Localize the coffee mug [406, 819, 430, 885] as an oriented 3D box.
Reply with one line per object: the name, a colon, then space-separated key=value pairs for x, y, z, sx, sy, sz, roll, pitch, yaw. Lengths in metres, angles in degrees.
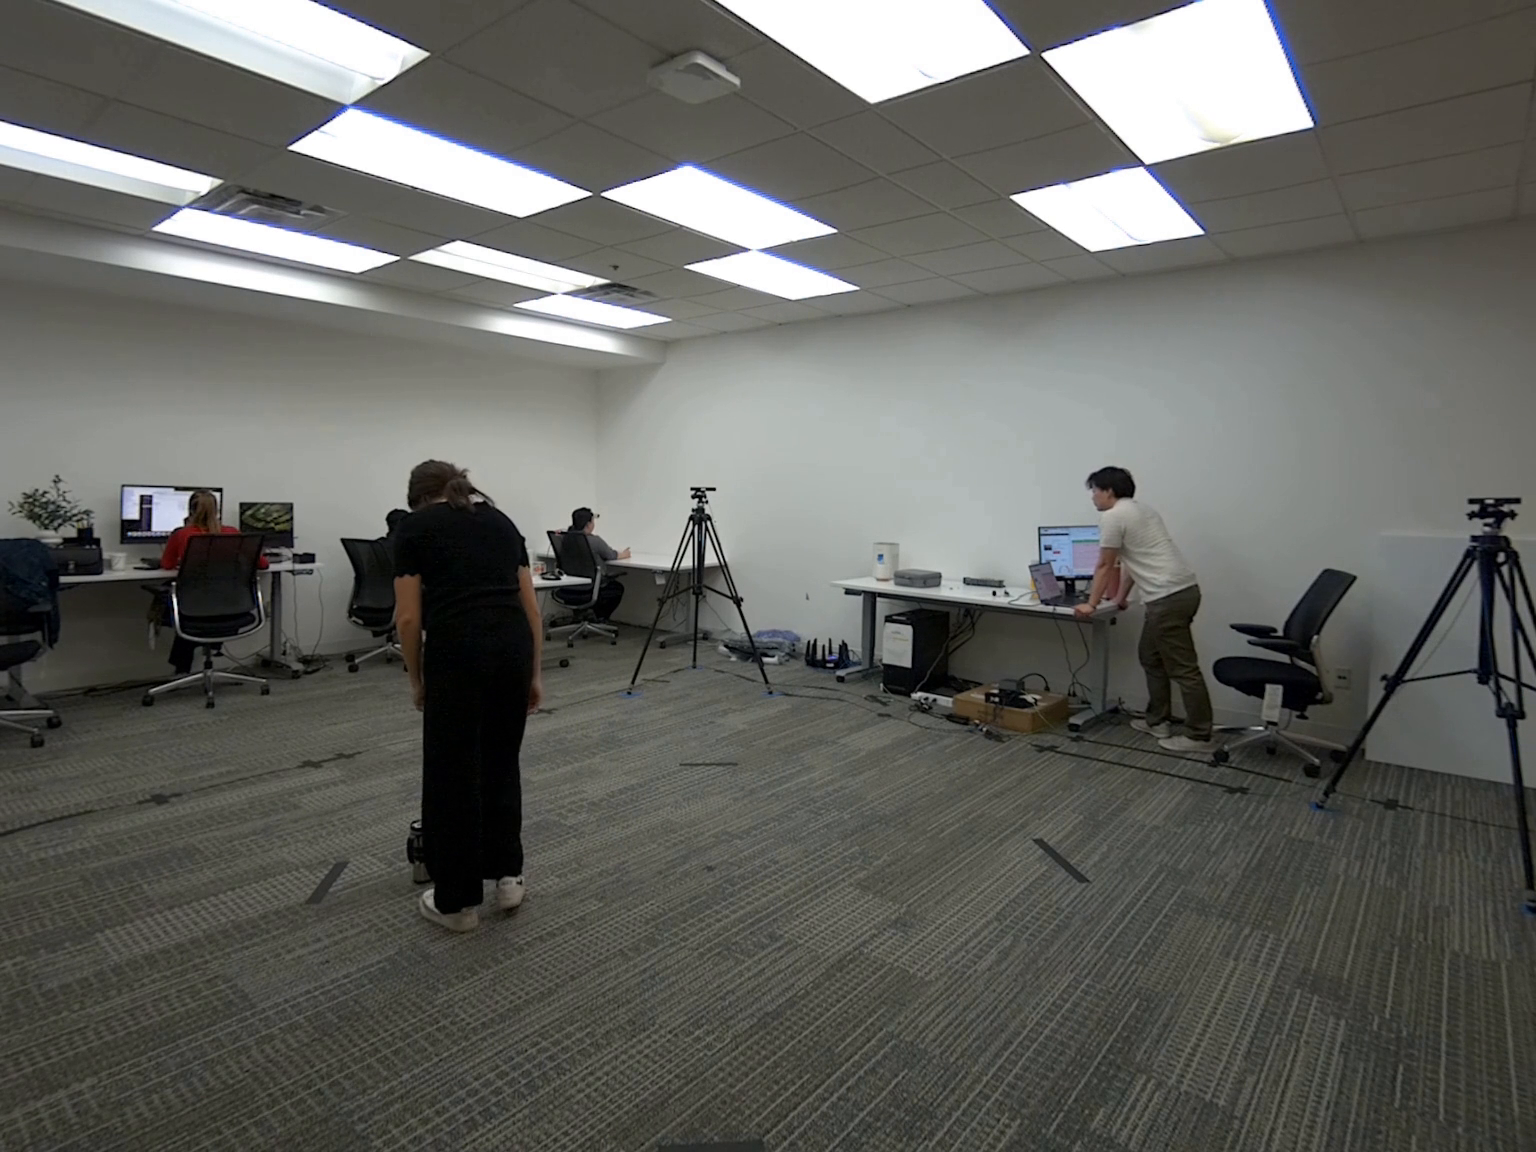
coffee mug: x=-1.233 y=0.965 z=2.952 sx=0.091 sy=0.203 sz=0.118 roll=5 pitch=2 yaw=34
